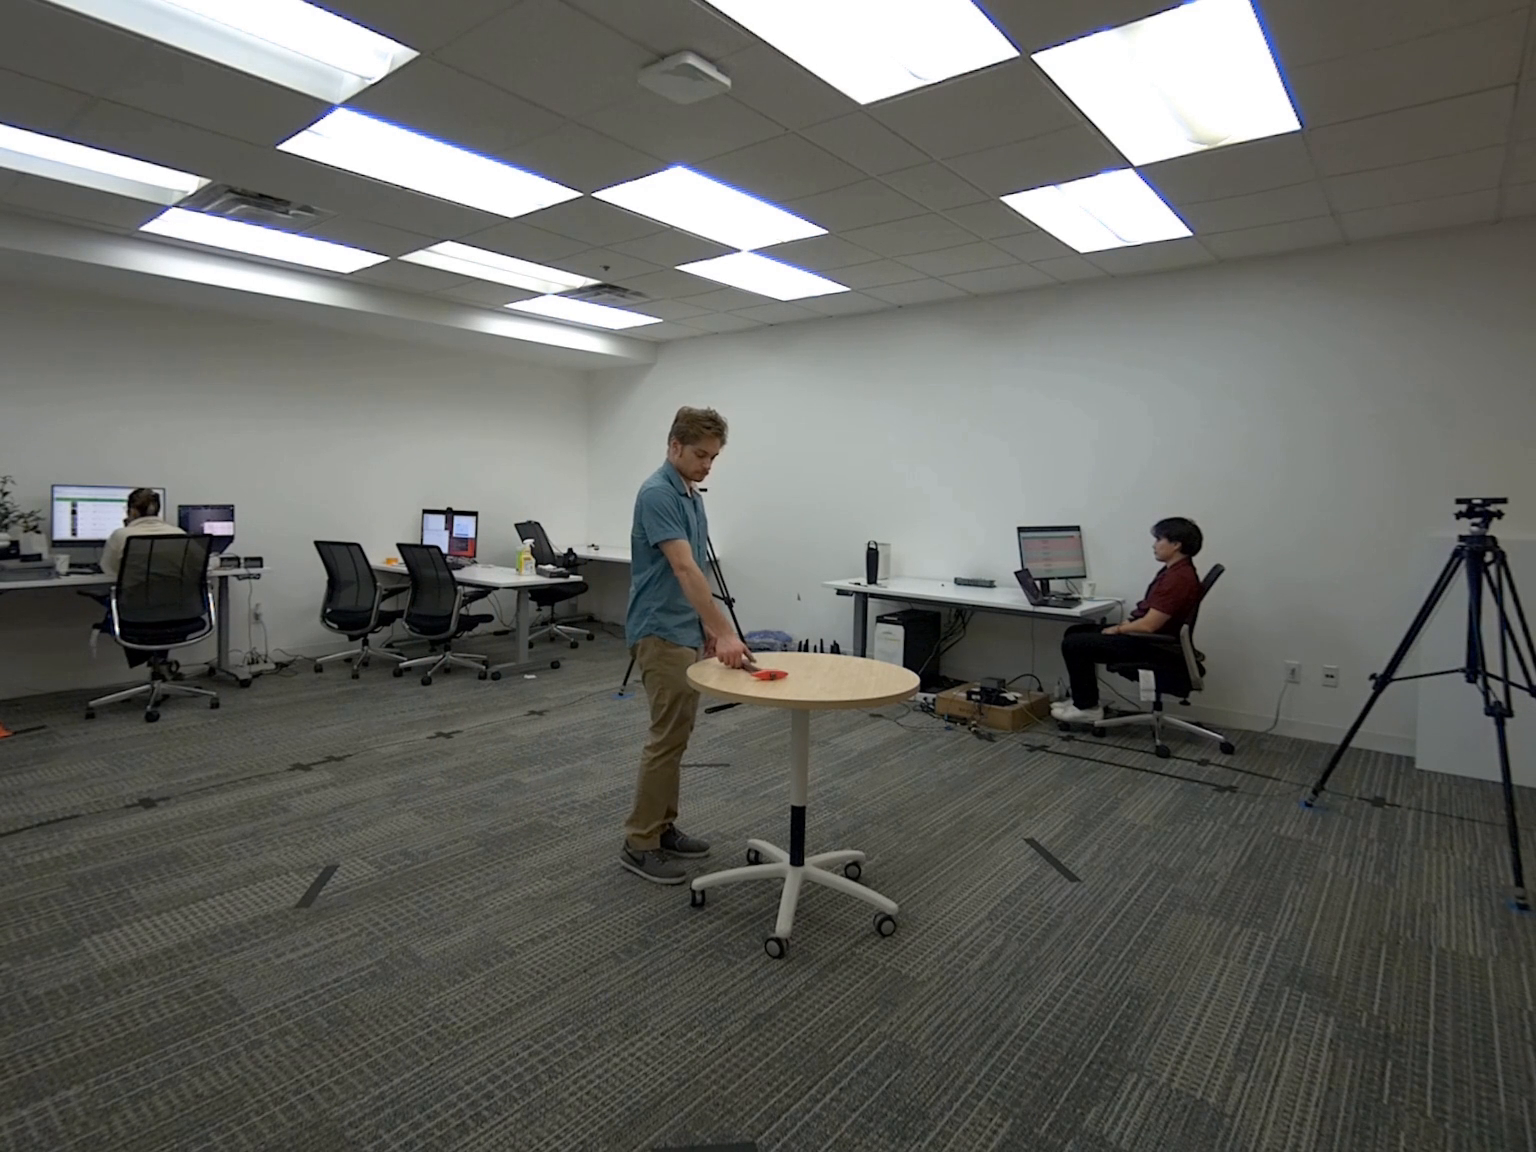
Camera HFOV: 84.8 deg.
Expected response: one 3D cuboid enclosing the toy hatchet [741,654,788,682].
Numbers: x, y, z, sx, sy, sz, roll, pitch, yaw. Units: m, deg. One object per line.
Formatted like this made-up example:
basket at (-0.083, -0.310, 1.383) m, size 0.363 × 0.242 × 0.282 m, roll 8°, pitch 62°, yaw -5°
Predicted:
toy hatchet at (-0.023, 0.305, 2.820) m, size 0.130 × 0.029 × 0.273 m, roll -2°, pitch 5°, yaw -9°
